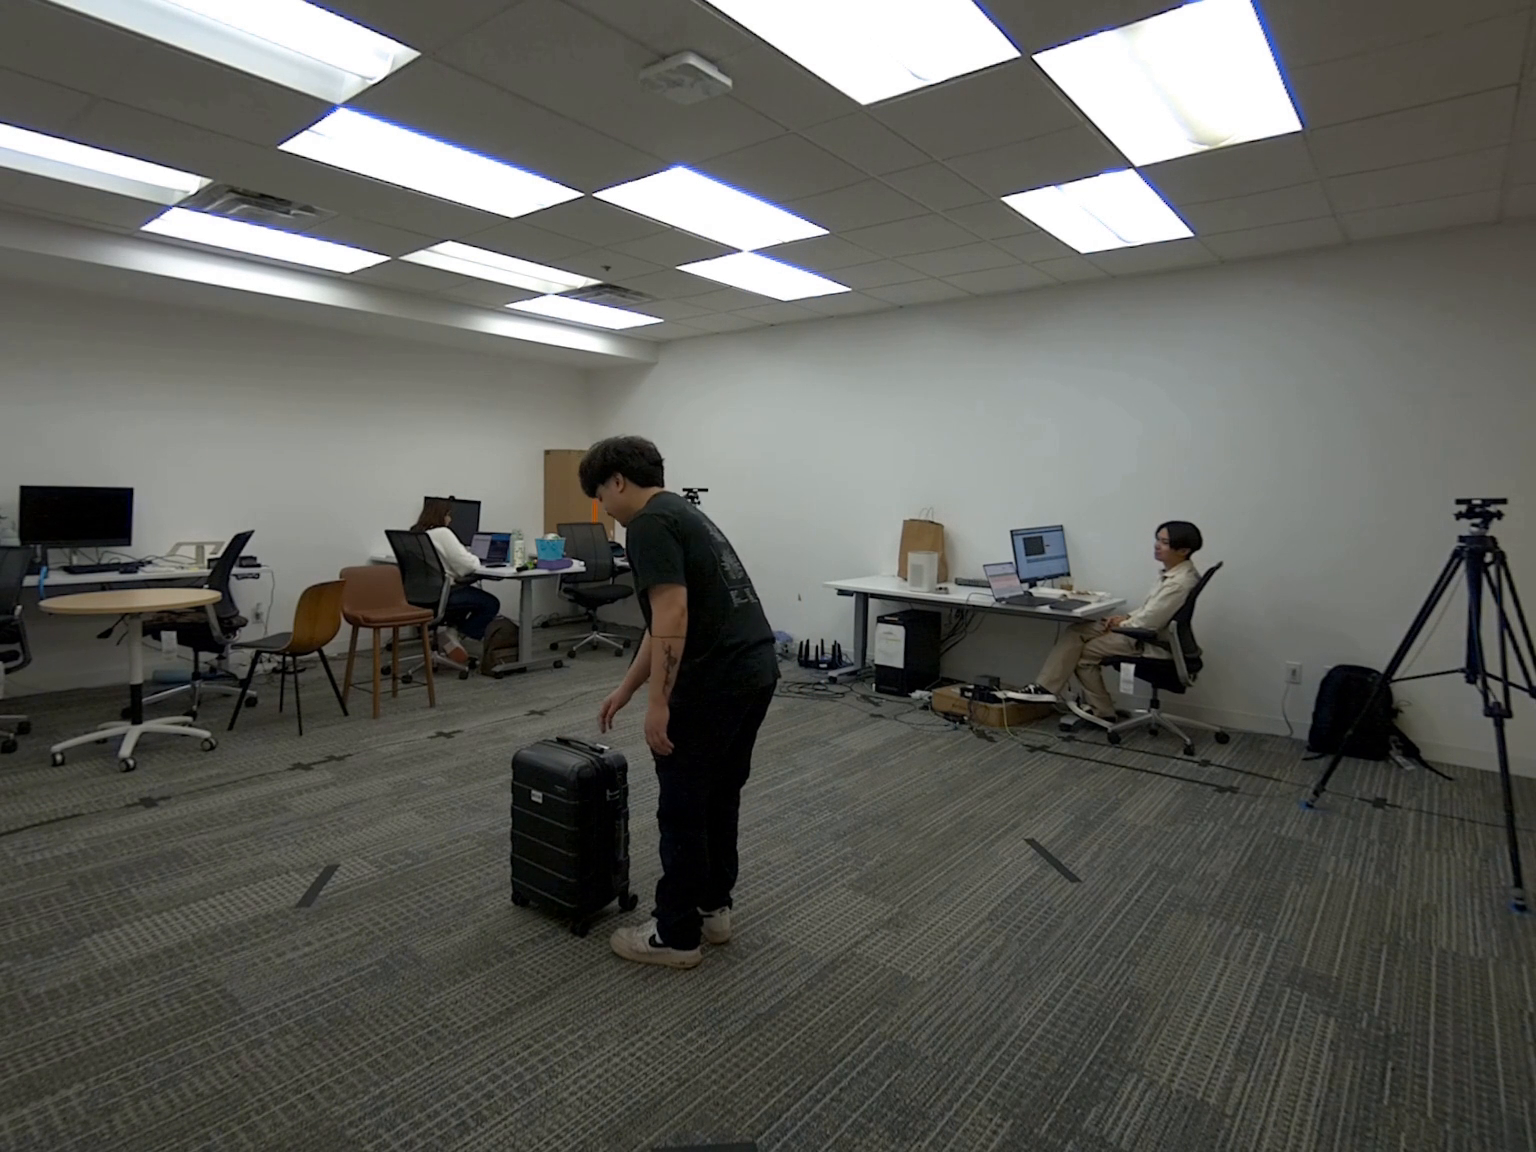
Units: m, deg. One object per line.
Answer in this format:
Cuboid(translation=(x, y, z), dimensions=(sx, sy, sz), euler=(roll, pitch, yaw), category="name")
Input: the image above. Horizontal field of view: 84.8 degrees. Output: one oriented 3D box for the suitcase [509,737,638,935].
Cuboid(translation=(-0.657, 0.817, 2.781), dimensions=(0.388, 0.547, 0.241), euler=(5, 7, 38), category="suitcase")
